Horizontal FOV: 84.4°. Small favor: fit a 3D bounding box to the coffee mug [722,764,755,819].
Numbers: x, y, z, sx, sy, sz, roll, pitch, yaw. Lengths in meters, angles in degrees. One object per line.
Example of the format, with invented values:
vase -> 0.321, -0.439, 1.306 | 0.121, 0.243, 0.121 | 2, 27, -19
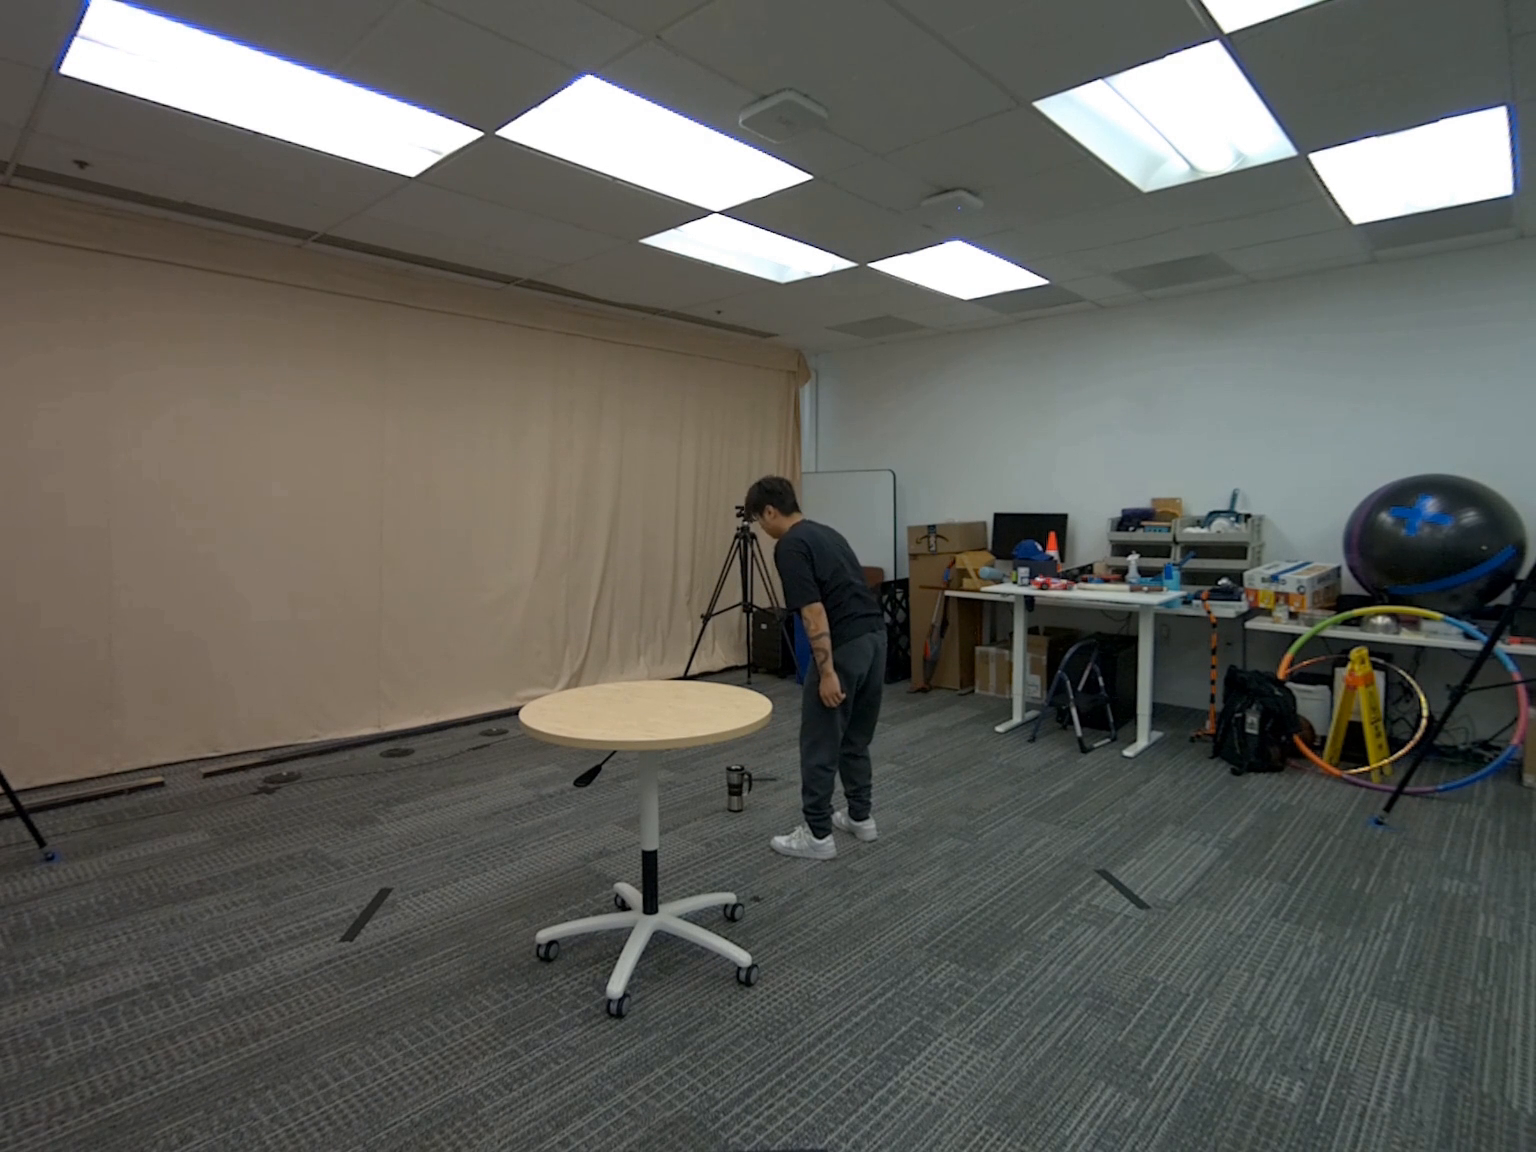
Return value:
coffee mug -> -0.137, 0.974, 3.841 | 0.085, 0.203, 0.126 | 2, -2, -44
